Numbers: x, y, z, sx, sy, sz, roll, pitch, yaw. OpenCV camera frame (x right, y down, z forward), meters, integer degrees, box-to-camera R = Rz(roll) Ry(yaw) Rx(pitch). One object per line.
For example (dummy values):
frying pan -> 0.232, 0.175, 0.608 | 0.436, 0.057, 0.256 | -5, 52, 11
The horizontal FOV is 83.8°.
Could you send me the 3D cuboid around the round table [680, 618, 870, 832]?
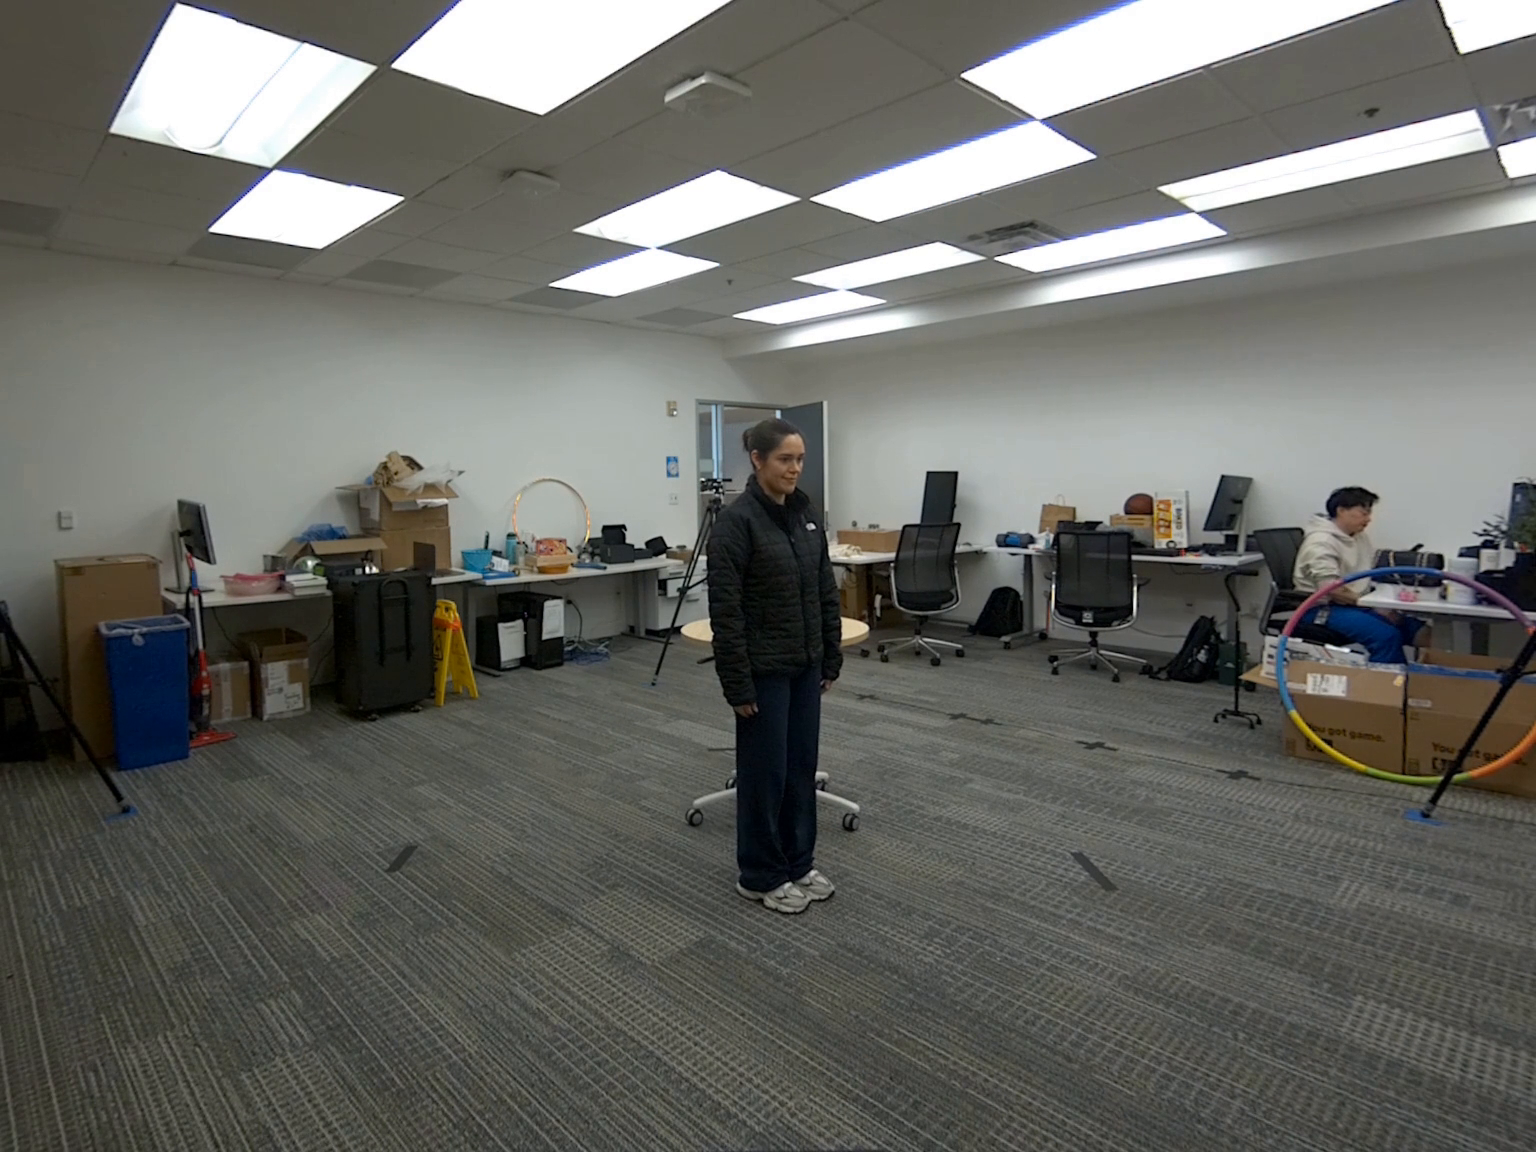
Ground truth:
round table -> 0.024, 0.602, 3.528 | 0.784, 0.784, 0.789 | -1, 4, -2
